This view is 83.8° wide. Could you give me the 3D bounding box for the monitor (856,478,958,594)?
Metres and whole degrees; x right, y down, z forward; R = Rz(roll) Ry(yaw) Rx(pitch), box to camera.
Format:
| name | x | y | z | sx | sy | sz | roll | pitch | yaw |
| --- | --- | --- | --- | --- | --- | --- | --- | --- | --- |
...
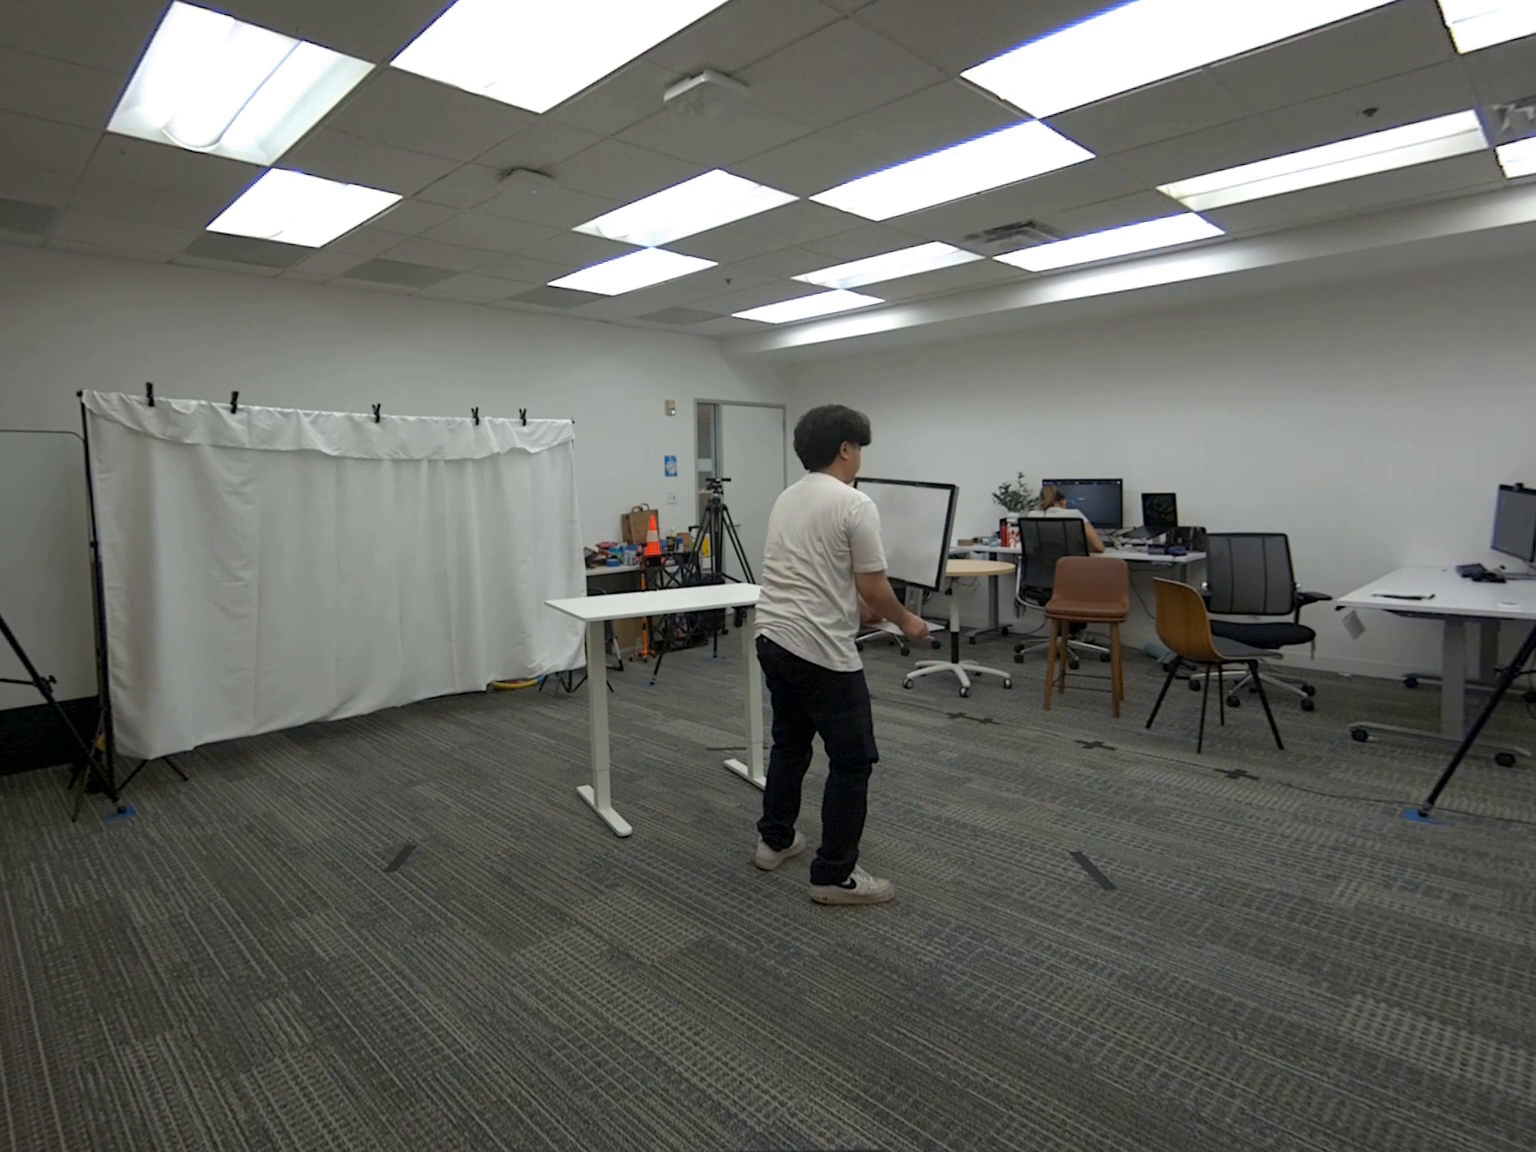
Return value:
| name | x | y | z | sx | sy | sz | roll | pitch | yaw |
| --- | --- | --- | --- | --- | --- | --- | --- | --- | --- |
| monitor | 0.506 | -0.072 | 3.102 | 0.205 | 0.551 | 0.581 | 0 | 6 | -29 |
